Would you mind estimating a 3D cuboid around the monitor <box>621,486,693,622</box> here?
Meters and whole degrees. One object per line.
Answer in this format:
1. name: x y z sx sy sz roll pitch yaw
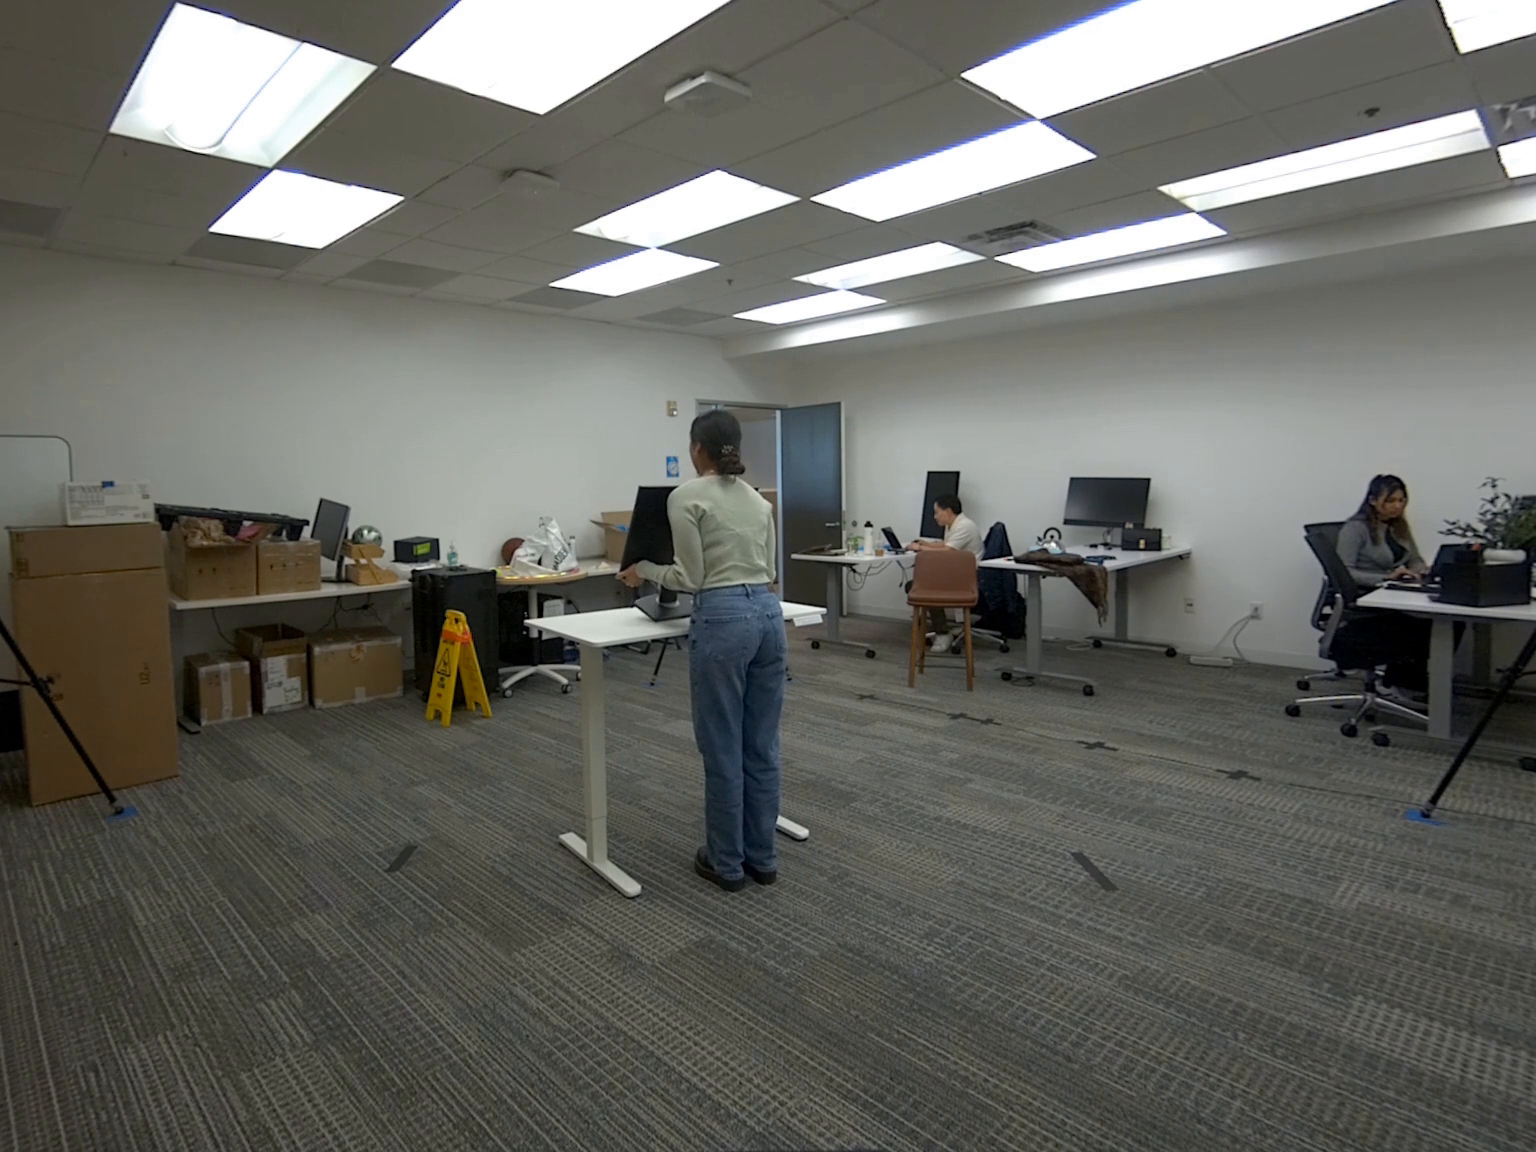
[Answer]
1. monitor: -0.310 -0.103 3.162 0.525 0.516 0.194 -6 36 -43
